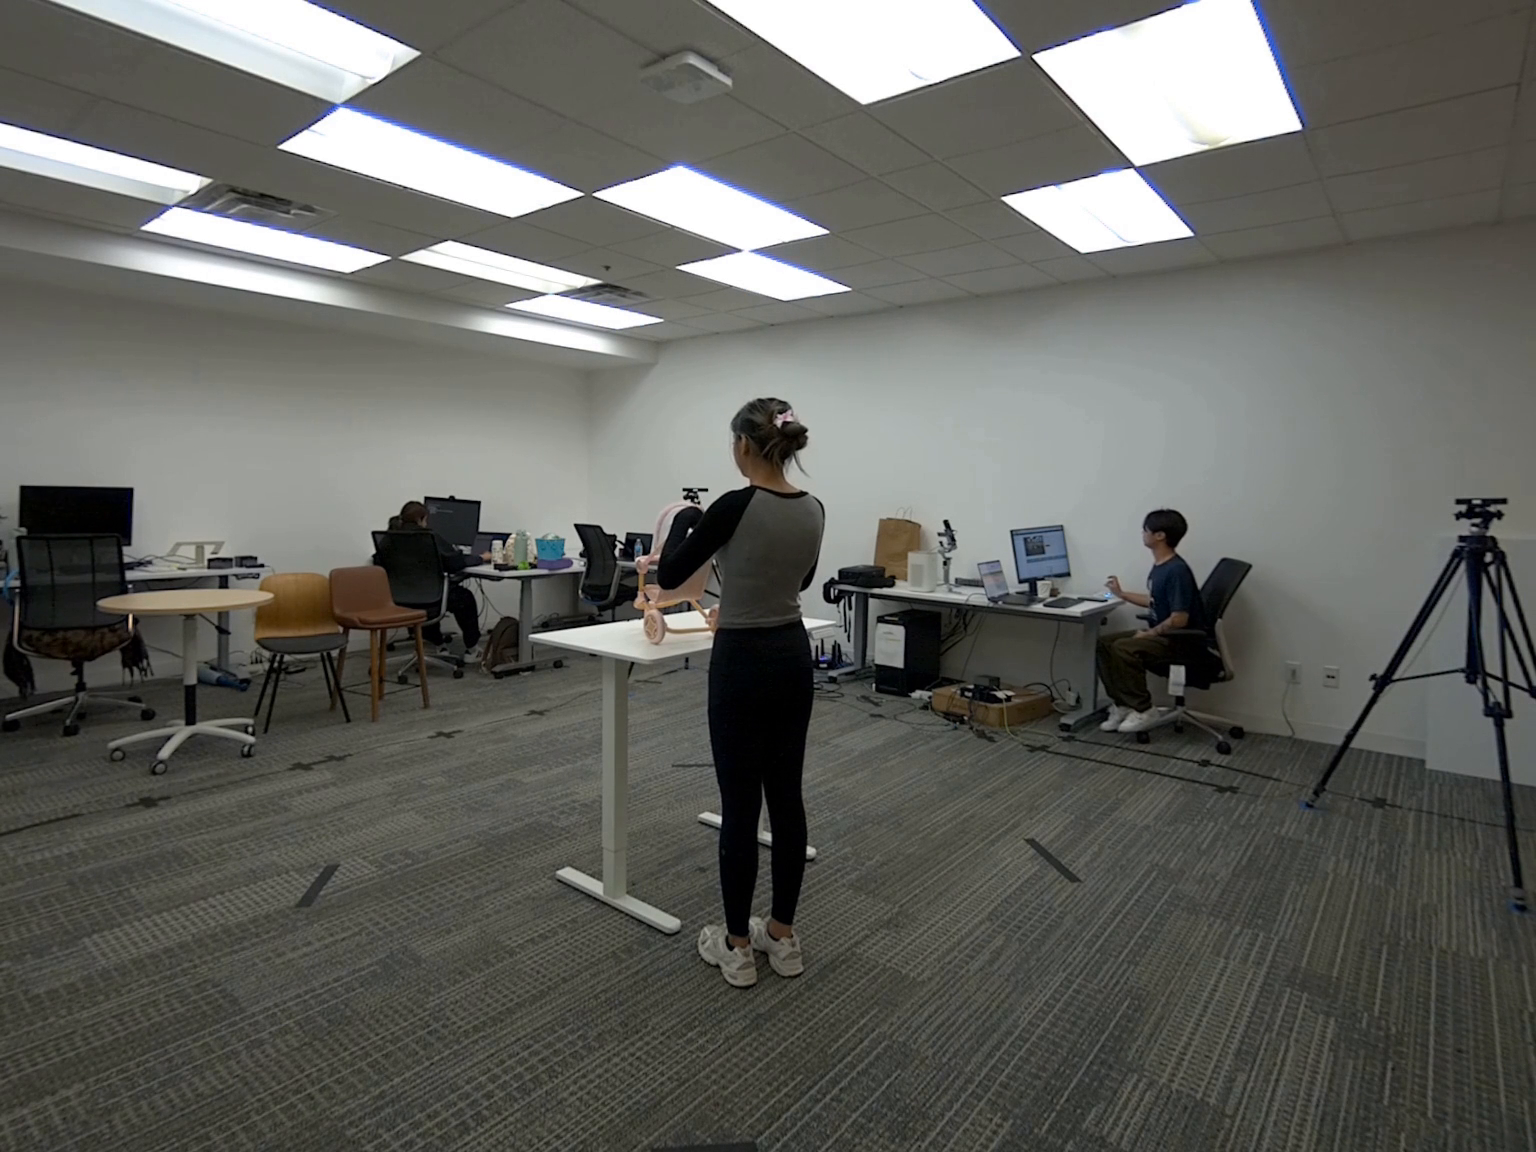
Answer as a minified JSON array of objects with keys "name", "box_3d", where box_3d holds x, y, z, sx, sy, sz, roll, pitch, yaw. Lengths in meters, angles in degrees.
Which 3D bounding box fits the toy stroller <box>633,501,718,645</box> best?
[{"name":"toy stroller","box_3d":[-0.312,-0.017,2.874,0.274,0.528,0.355,-2,20,-32]}]
